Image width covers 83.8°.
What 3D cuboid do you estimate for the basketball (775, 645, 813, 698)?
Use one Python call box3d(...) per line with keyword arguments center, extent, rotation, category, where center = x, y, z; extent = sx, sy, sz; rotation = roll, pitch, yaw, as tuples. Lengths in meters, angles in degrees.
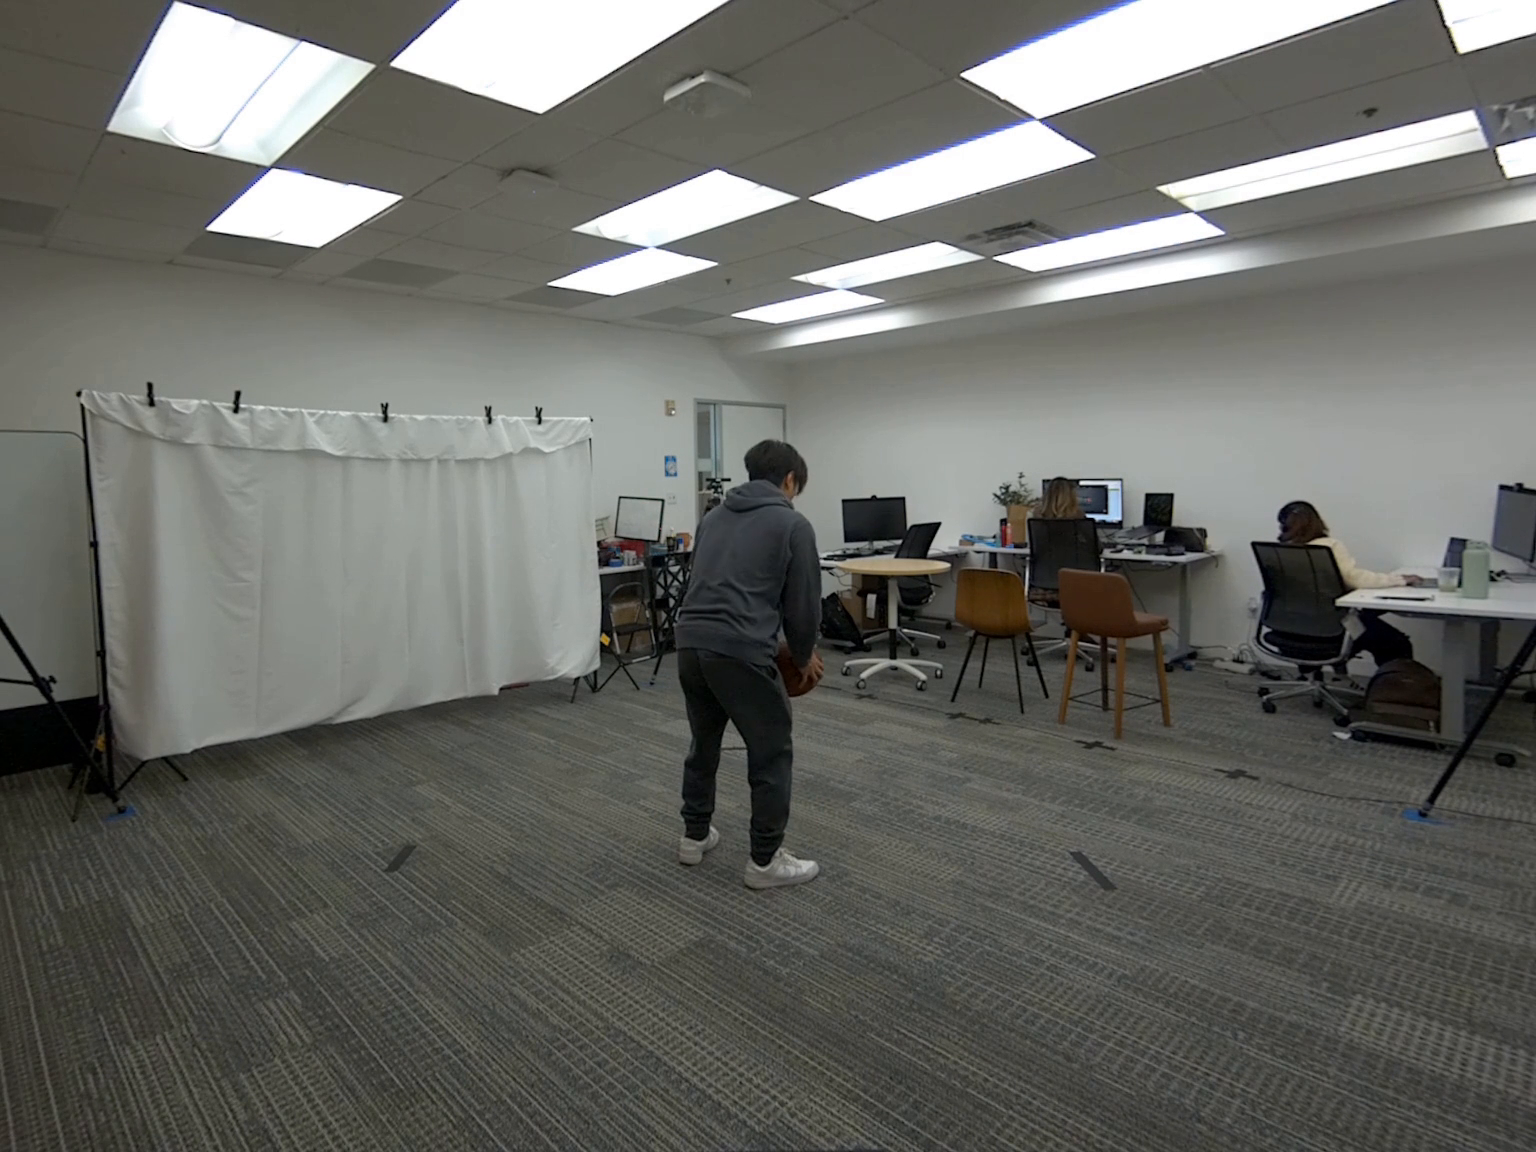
box3d(center=(0.100, 0.351, 3.257), extent=(0.236, 0.235, 0.237), rotation=(-1, 5, -2), category="basketball")
